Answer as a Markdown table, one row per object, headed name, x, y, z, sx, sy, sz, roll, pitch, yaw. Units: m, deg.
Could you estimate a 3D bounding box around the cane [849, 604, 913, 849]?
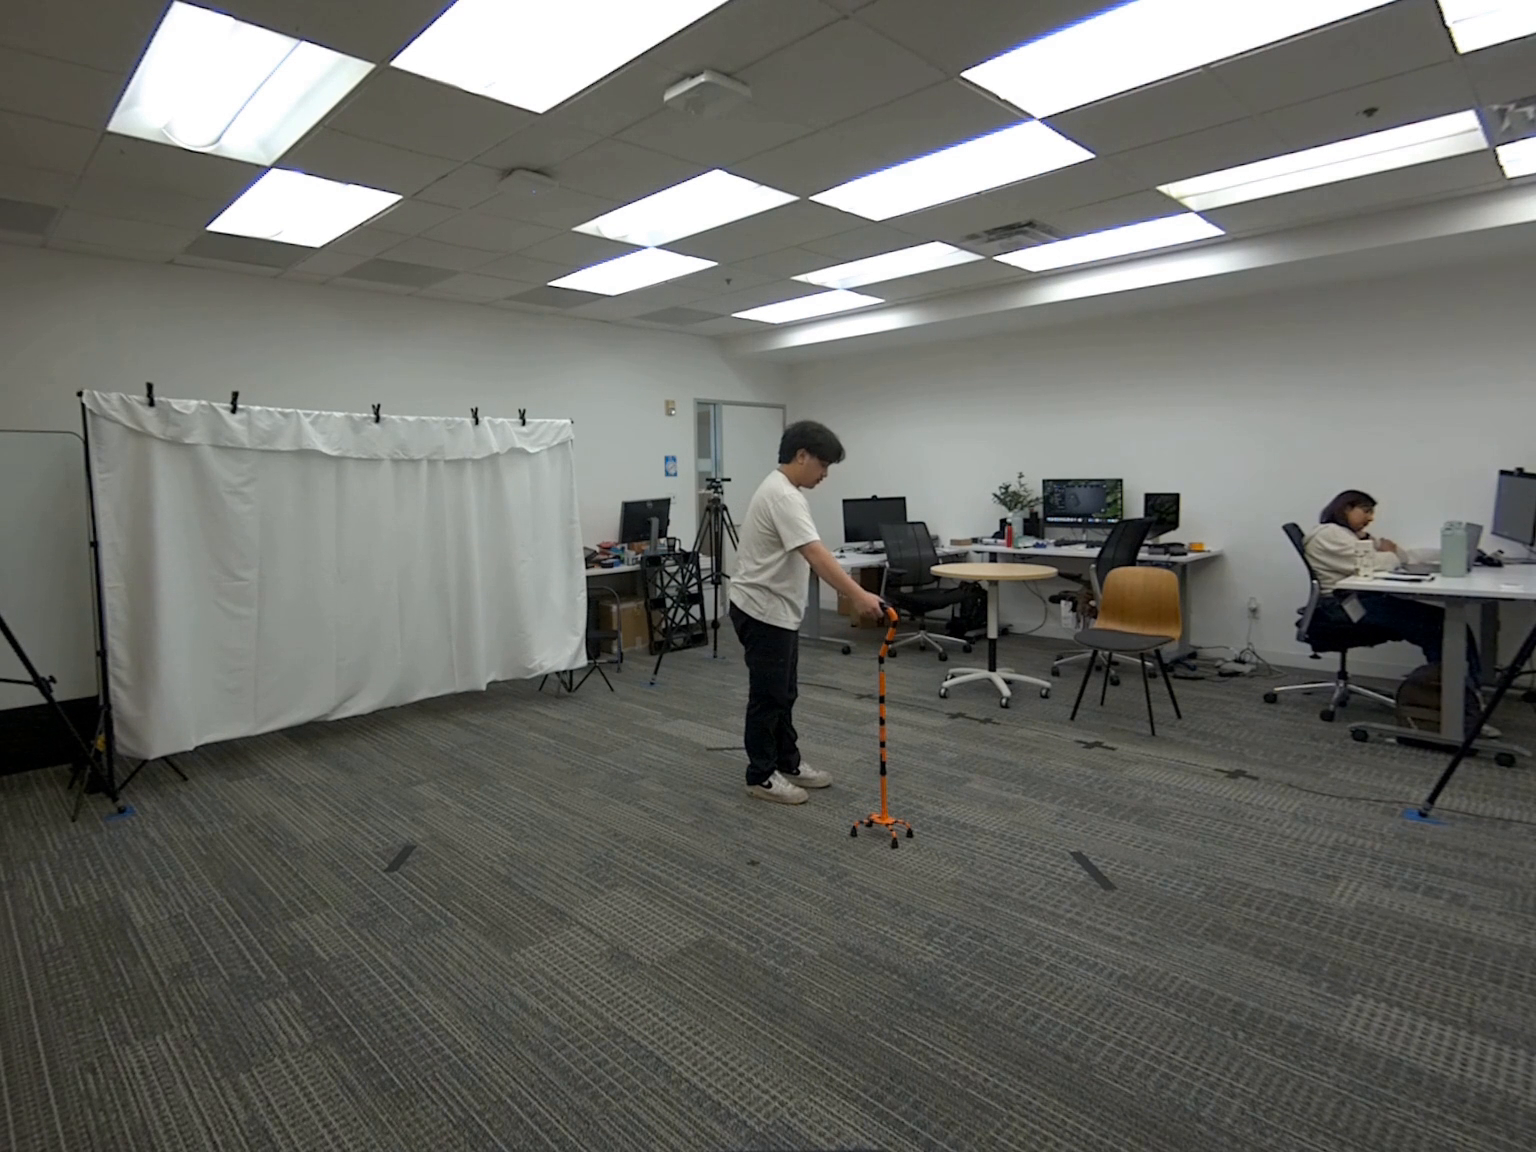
| name | x | y | z | sx | sy | sz | roll | pitch | yaw |
| --- | --- | --- | --- | --- | --- | --- | --- | --- | --- |
| cane | 0.438 | 0.563 | 3.292 | 0.212 | 0.905 | 0.147 | 2 | 4 | 39 |
